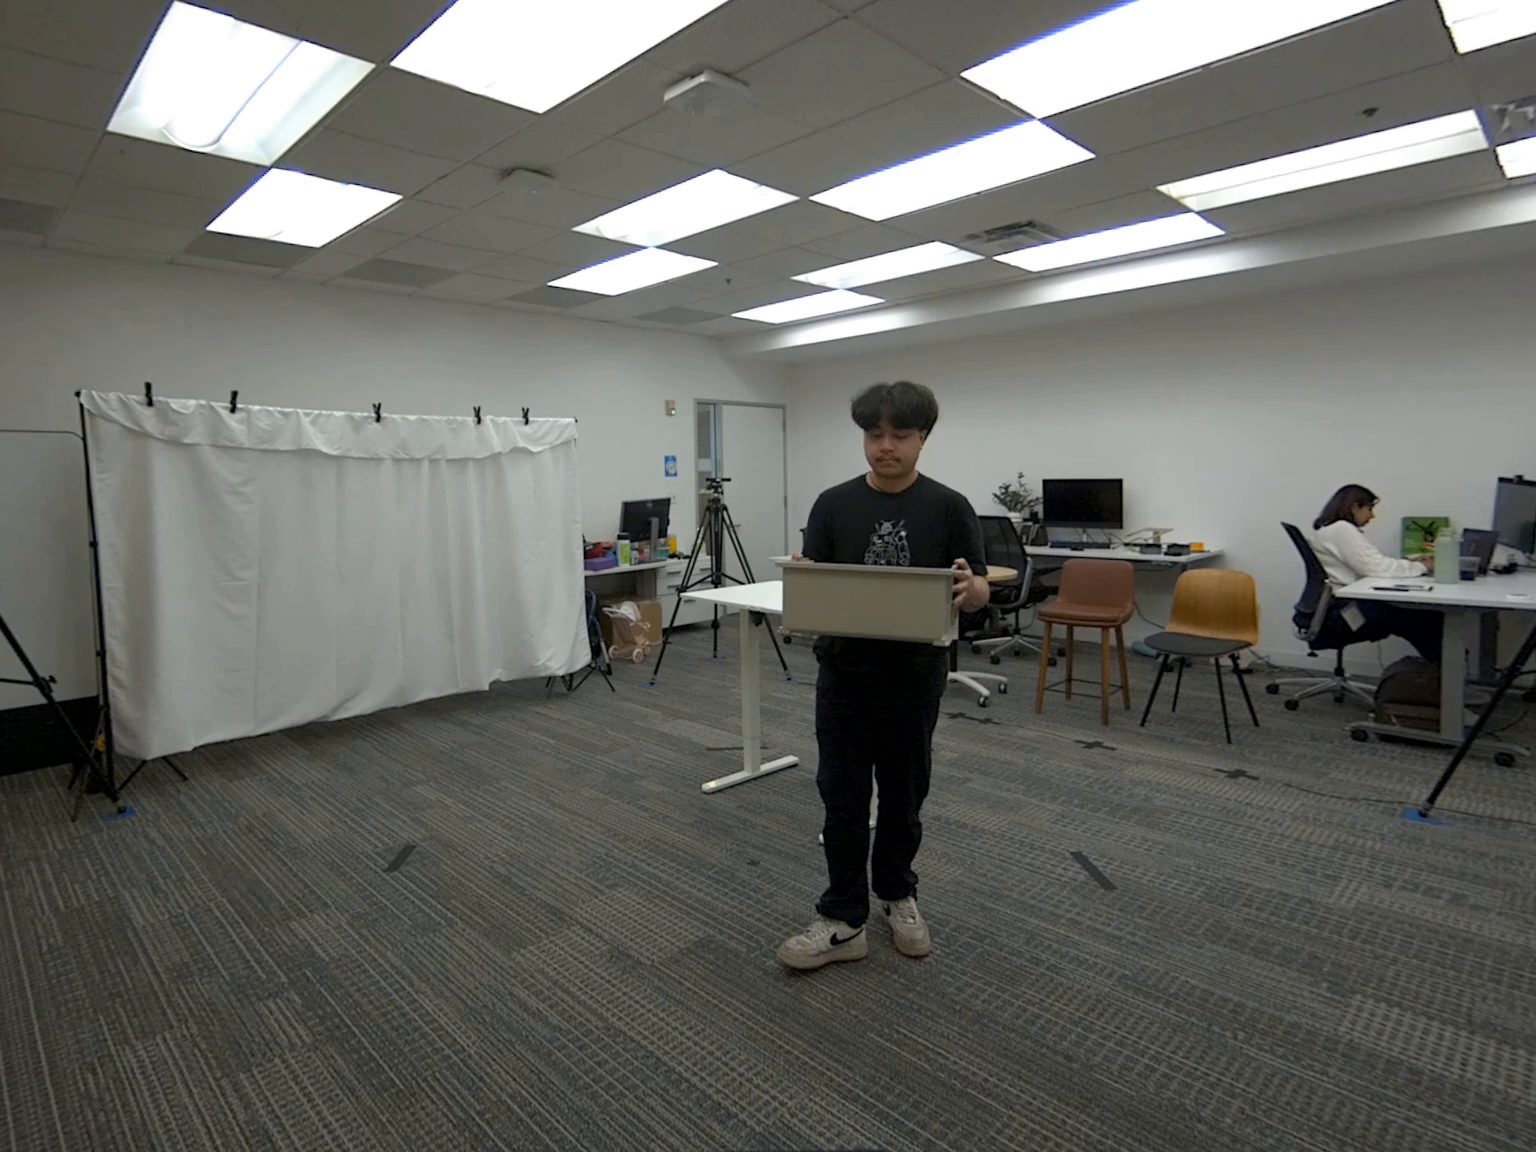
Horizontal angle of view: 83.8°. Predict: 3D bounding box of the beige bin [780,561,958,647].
[{"bbox_3d":[0.267,0.071,2.191,0.430,0.189,0.371,3,2,17],"label":"beige bin"}]
